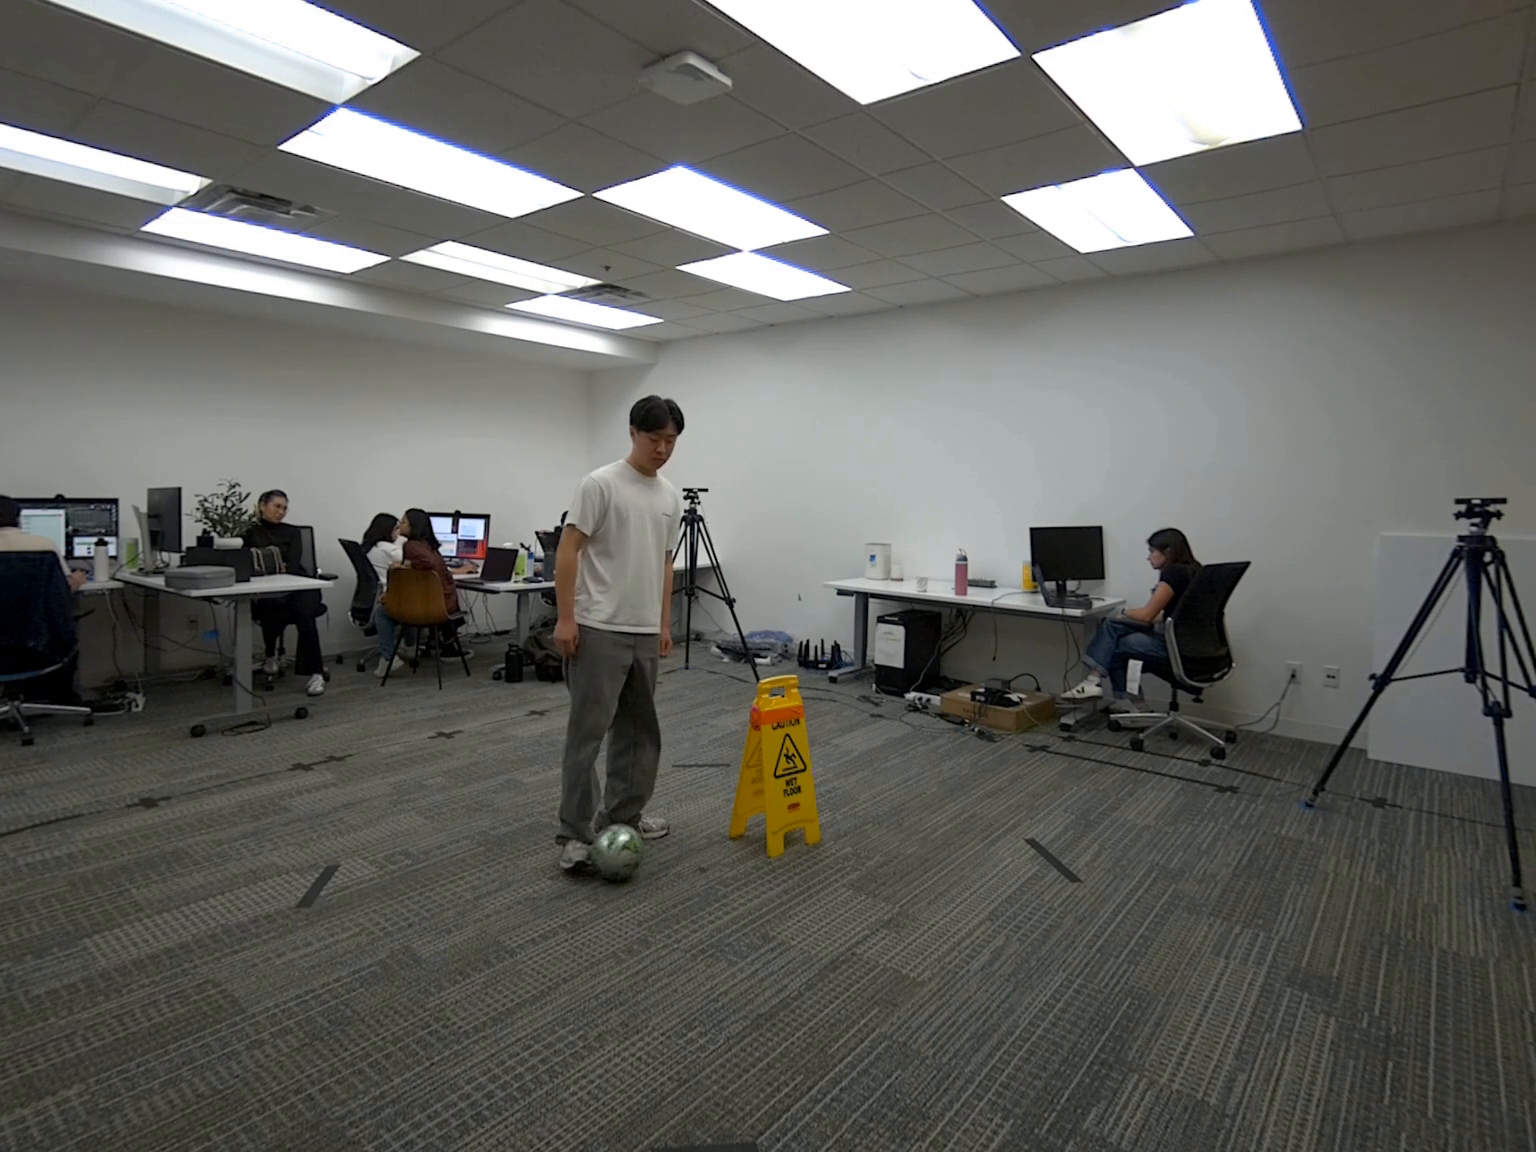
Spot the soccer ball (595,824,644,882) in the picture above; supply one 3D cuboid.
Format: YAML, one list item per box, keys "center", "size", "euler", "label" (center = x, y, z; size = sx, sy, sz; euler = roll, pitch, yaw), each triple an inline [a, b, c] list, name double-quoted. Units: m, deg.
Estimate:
- center: [-0.484, 0.971, 3.027]
  size: [0.187, 0.187, 0.188]
  euler: [1, 4, -2]
  label: "soccer ball"
